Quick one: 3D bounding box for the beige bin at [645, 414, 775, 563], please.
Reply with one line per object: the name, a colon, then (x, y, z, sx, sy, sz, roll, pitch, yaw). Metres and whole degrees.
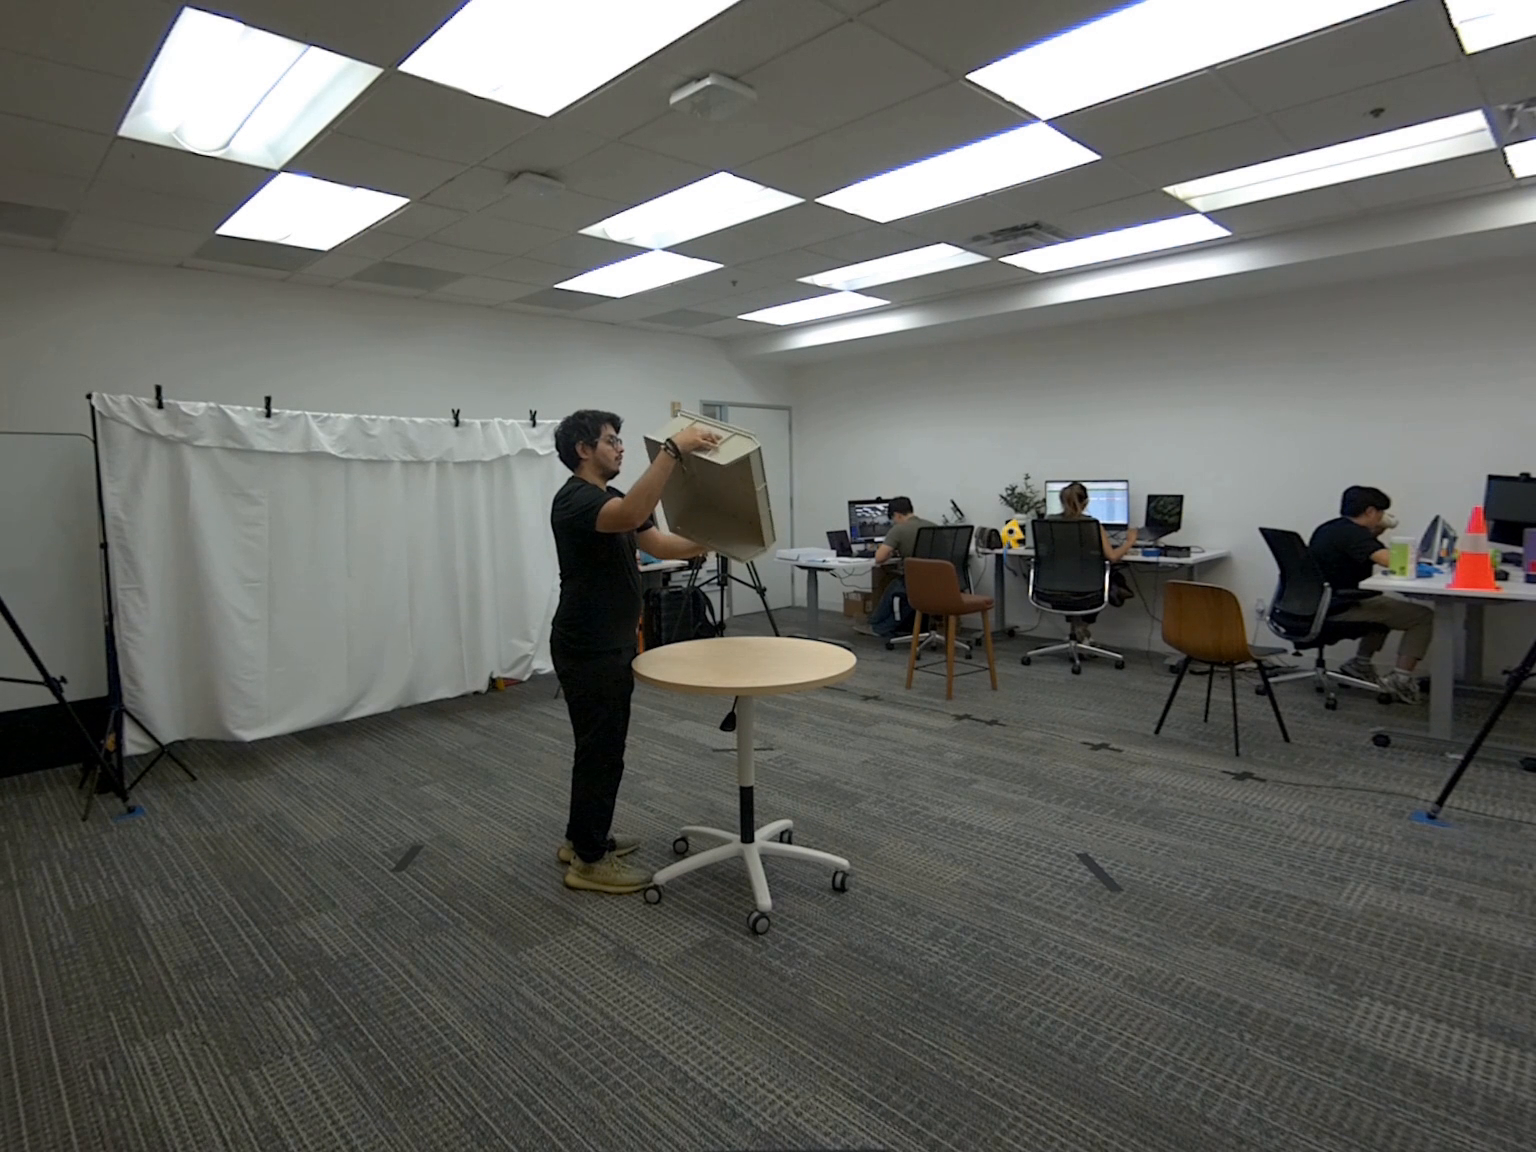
beige bin: (-0.180, -0.290, 2.840, 0.391, 0.408, 0.188, 24, 54, 33)
